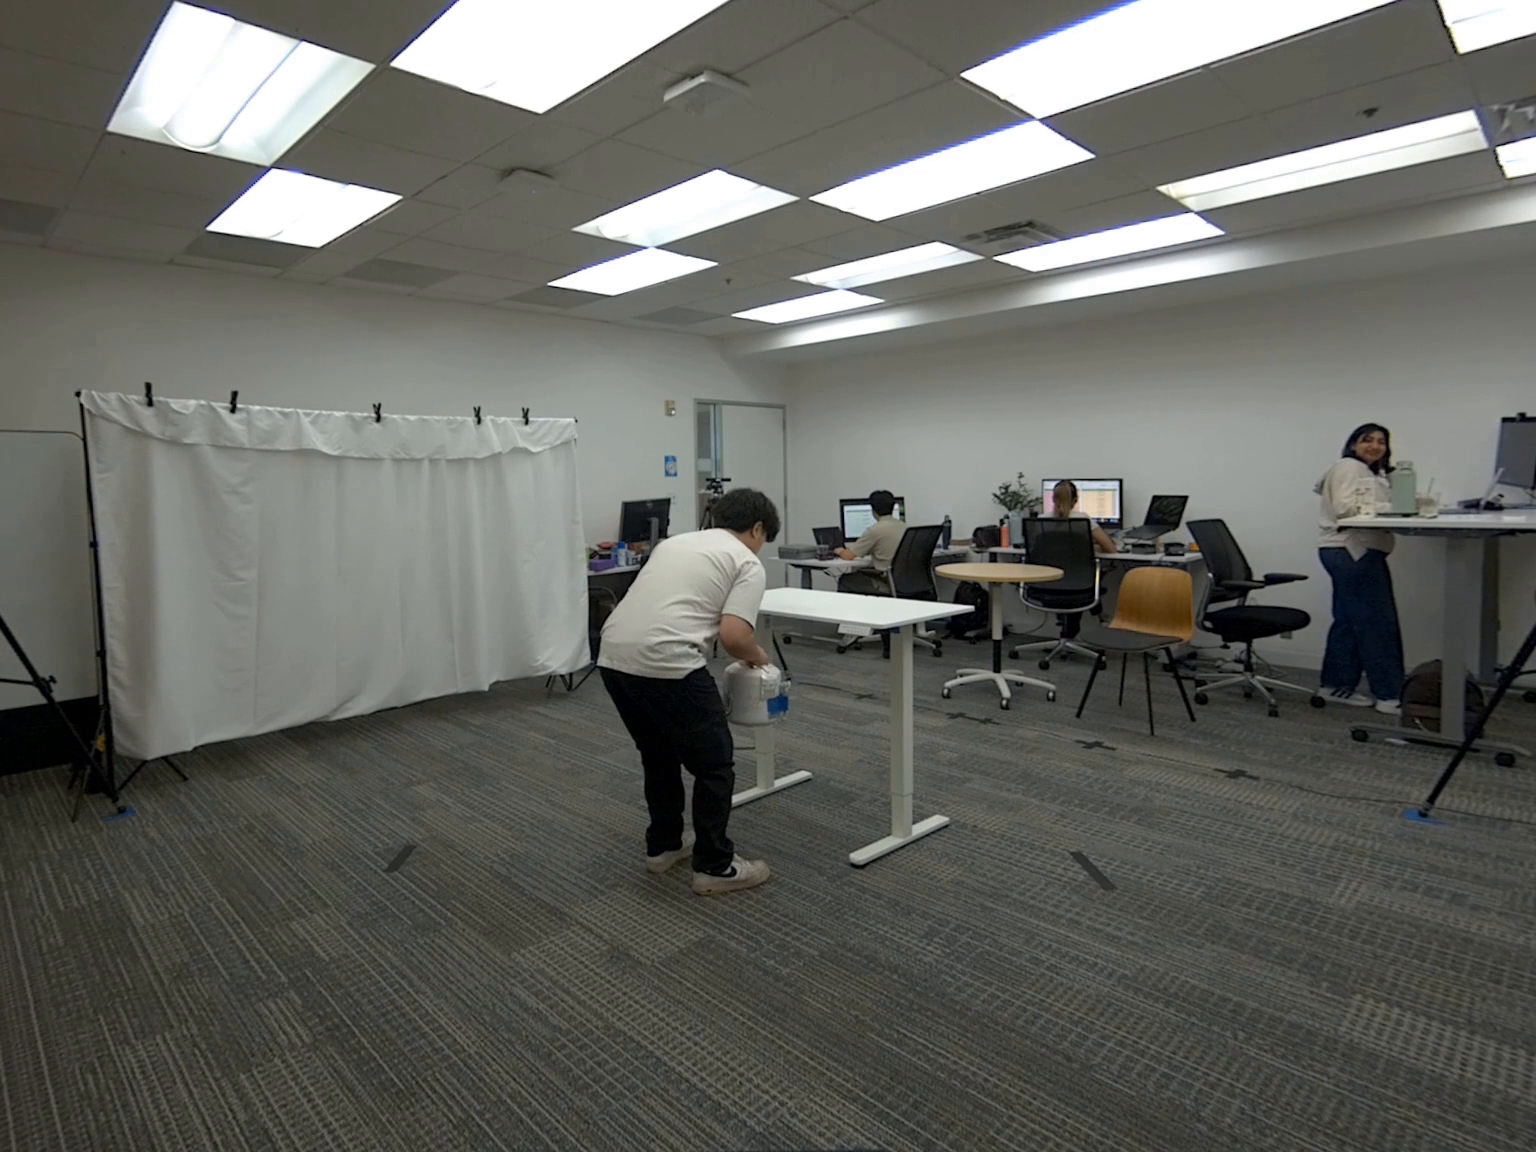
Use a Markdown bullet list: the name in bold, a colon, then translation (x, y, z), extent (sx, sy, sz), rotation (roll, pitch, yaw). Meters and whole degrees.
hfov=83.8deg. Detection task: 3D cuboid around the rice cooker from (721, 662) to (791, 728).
- **rice cooker**: translation (-0.058, 0.410, 3.094), extent (0.211, 0.232, 0.227), rotation (2, 3, -34)
